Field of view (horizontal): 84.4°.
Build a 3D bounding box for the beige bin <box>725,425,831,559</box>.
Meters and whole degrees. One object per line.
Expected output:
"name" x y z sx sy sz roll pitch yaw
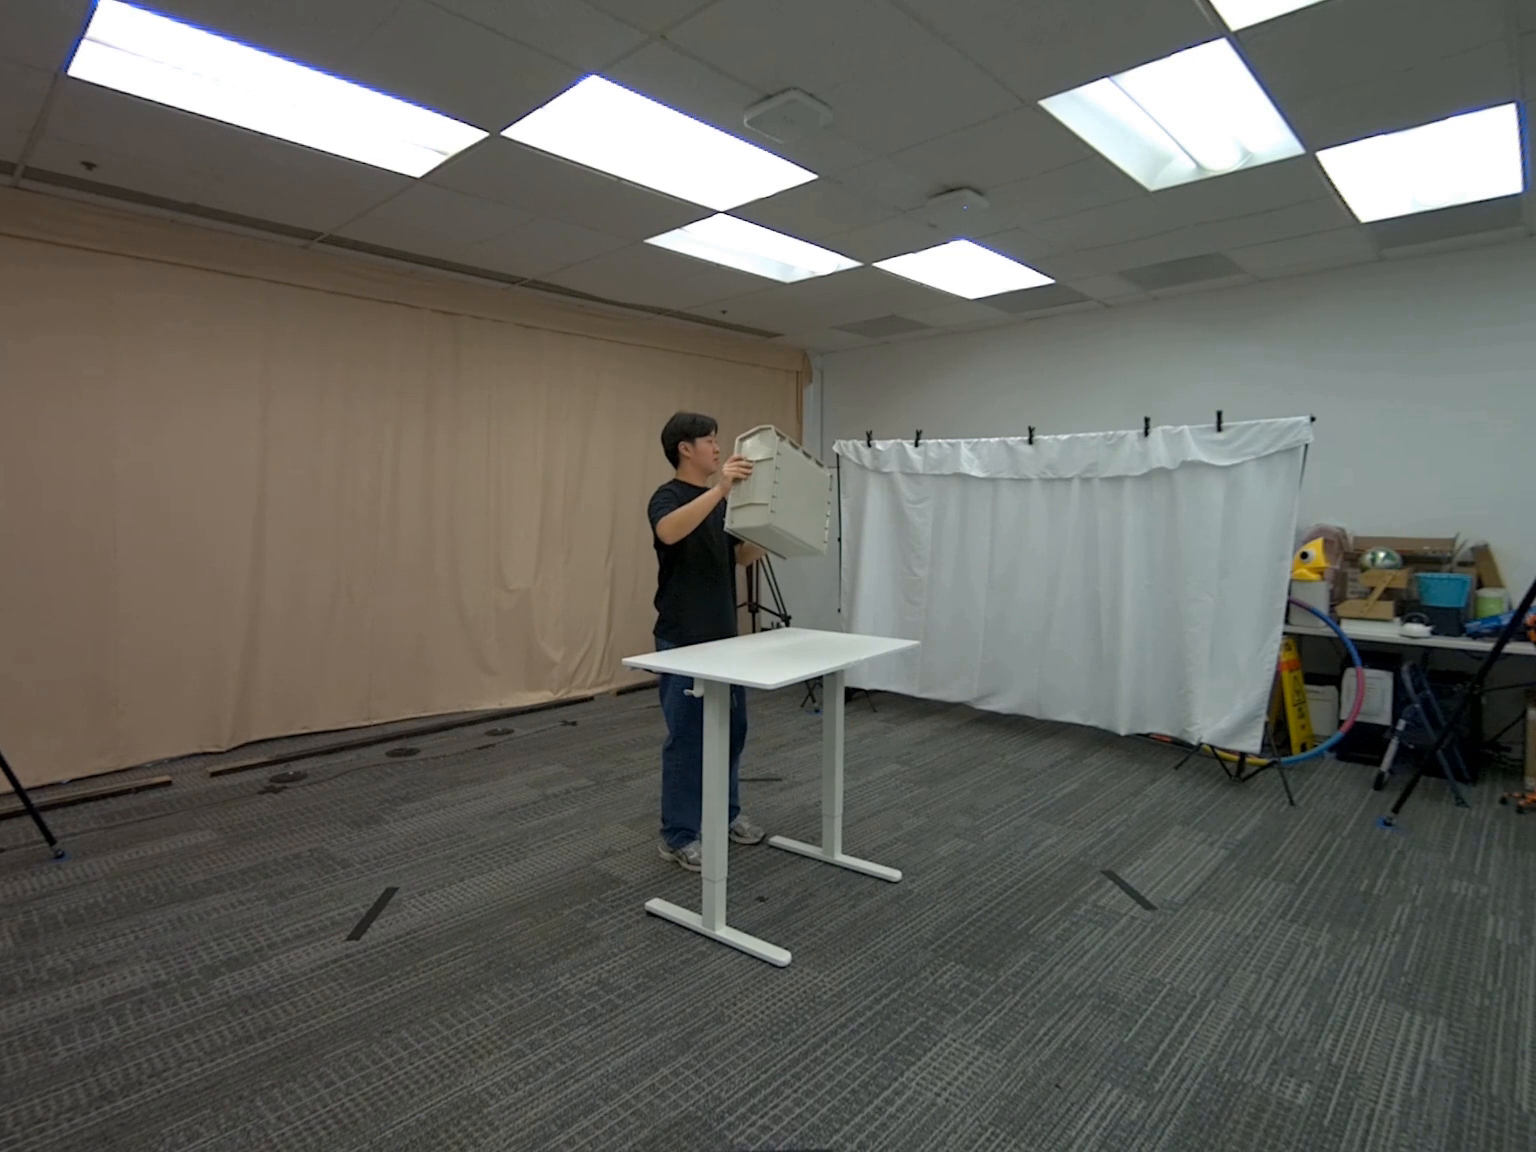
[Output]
"beige bin" 0.051 -0.290 3.067 0.194 0.380 0.407 -3 -17 32
